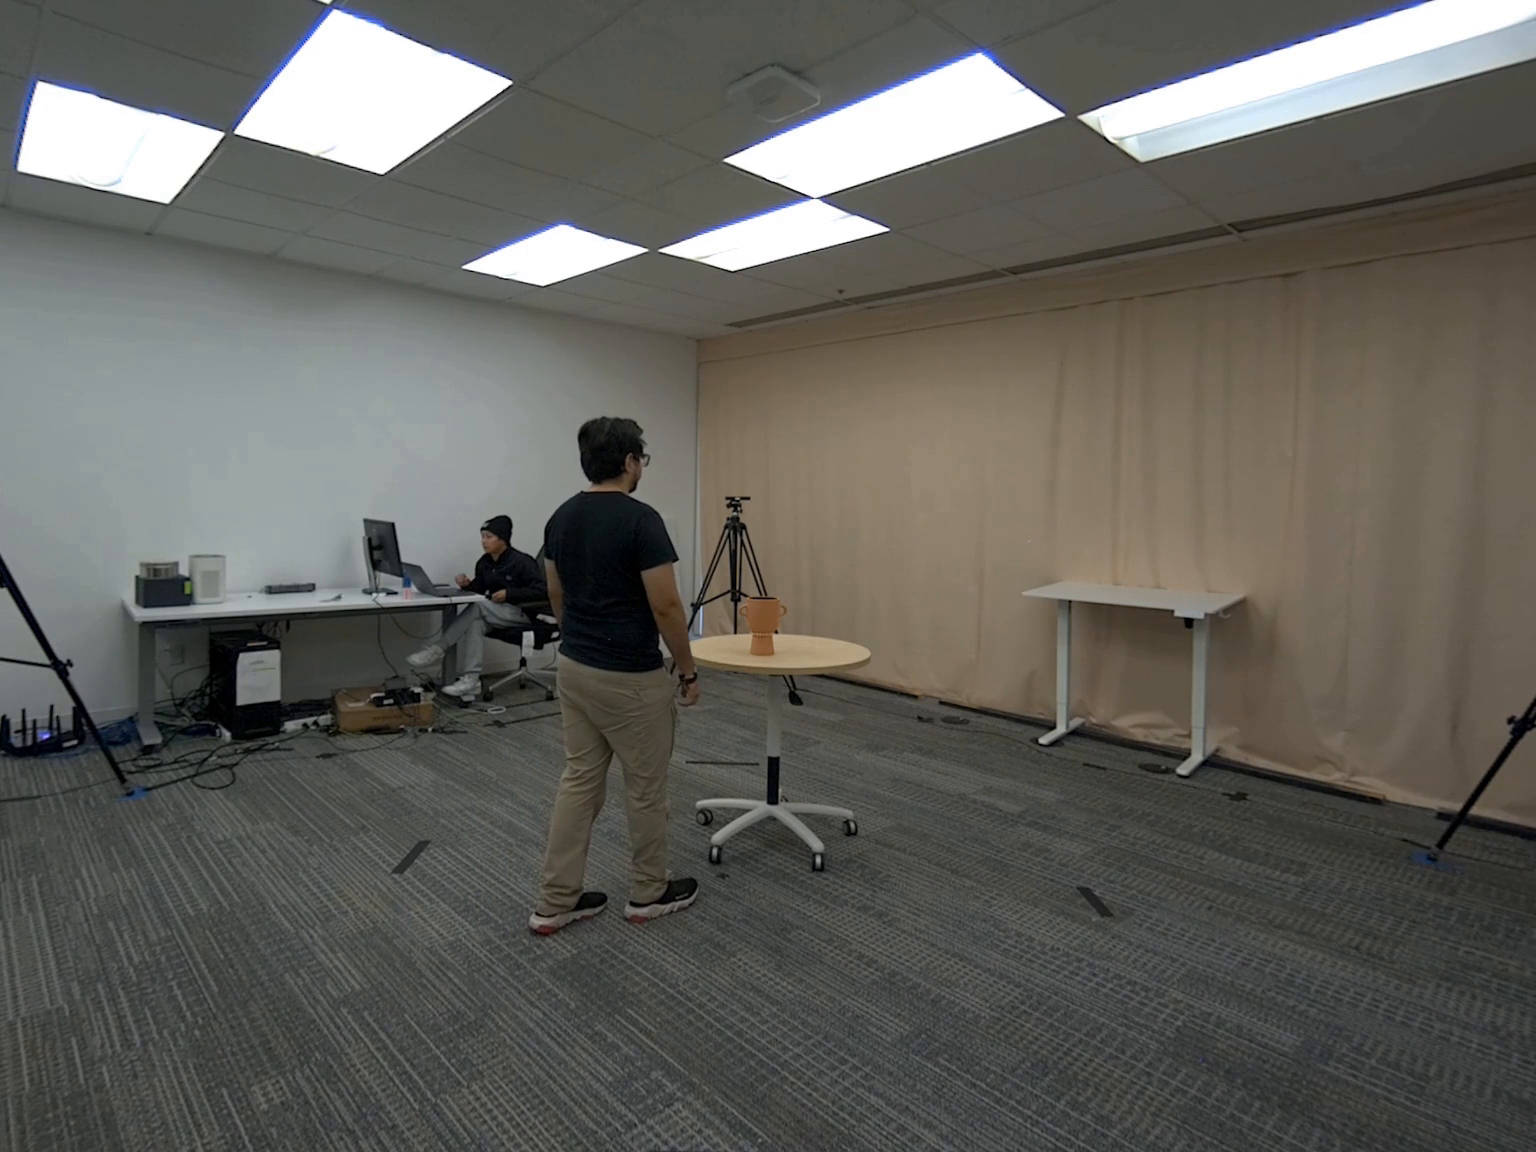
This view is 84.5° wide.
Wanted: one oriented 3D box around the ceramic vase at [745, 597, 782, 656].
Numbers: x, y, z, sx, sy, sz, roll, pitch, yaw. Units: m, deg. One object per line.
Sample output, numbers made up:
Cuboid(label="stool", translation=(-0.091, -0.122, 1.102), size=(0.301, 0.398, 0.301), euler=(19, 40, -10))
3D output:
Cuboid(label="ceramic vase", translation=(-0.027, 0.201, 3.332), size=(0.161, 0.219, 0.132), euler=(2, 4, 23))
